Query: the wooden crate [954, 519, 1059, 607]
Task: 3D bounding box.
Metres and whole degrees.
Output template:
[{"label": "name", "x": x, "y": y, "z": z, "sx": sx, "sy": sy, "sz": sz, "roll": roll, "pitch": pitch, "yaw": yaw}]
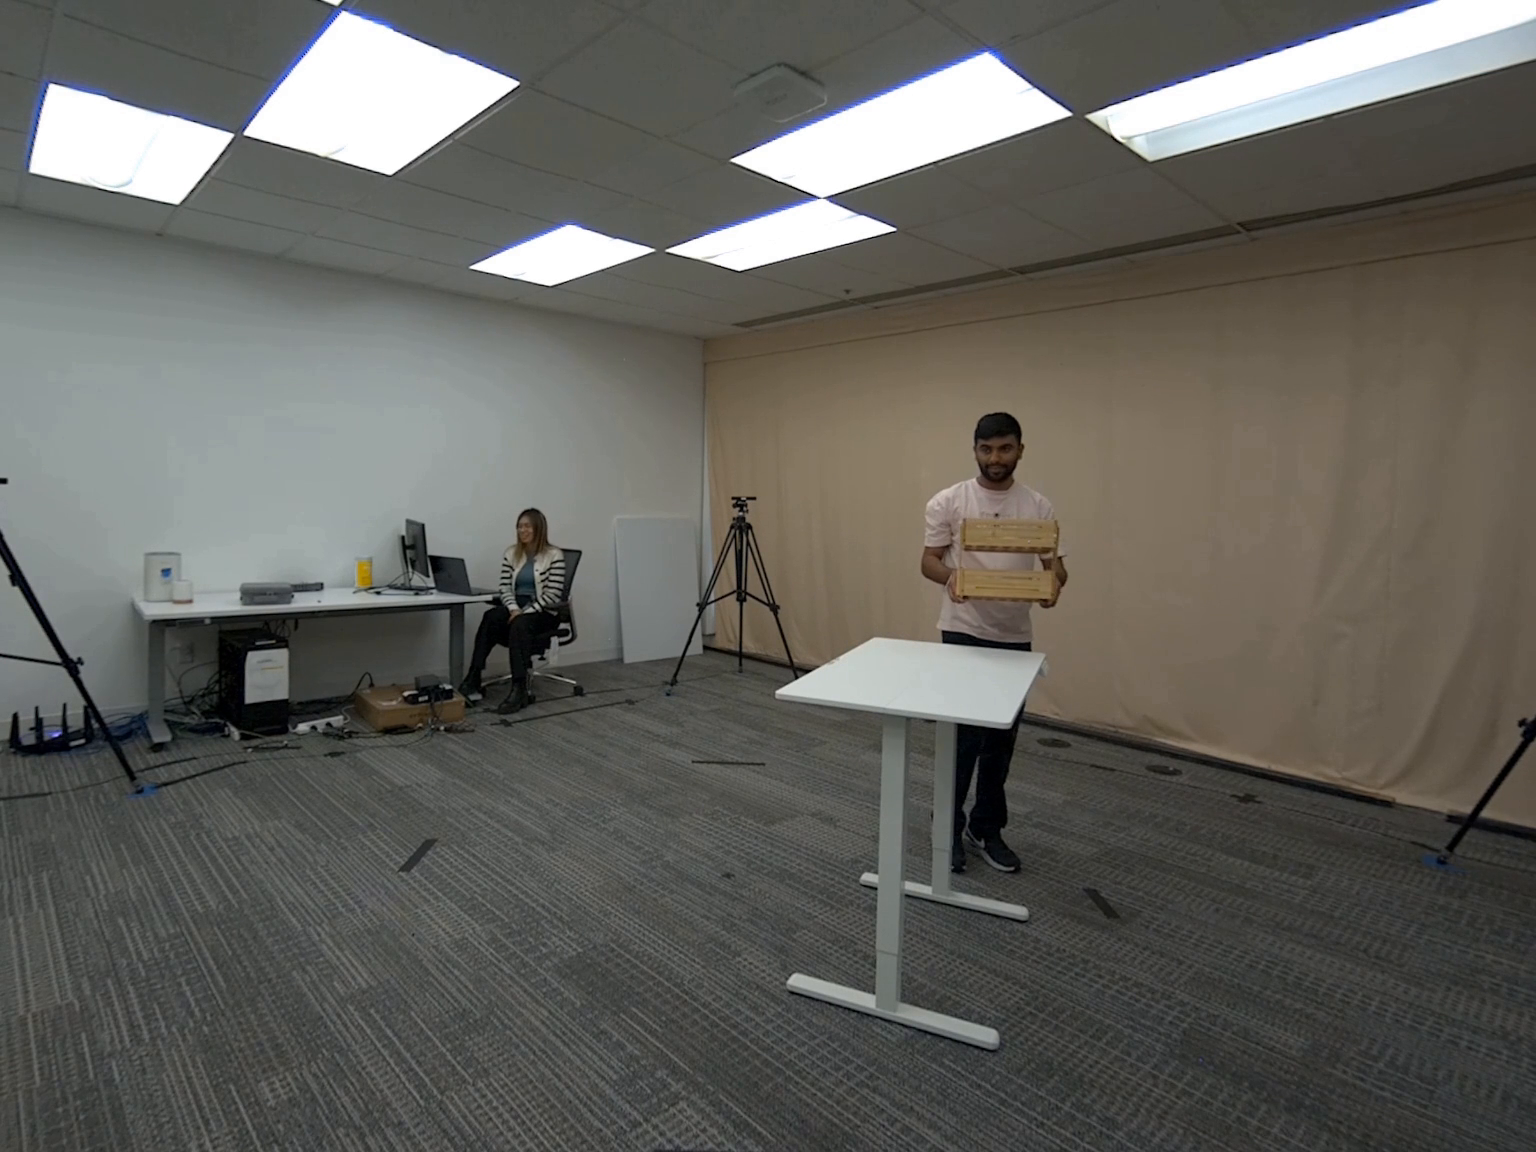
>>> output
[{"label": "wooden crate", "x": 0.820, "y": -0.053, "z": 2.947, "sx": 0.327, "sy": 0.274, "sz": 0.298, "roll": 1, "pitch": -4, "yaw": 11}]
